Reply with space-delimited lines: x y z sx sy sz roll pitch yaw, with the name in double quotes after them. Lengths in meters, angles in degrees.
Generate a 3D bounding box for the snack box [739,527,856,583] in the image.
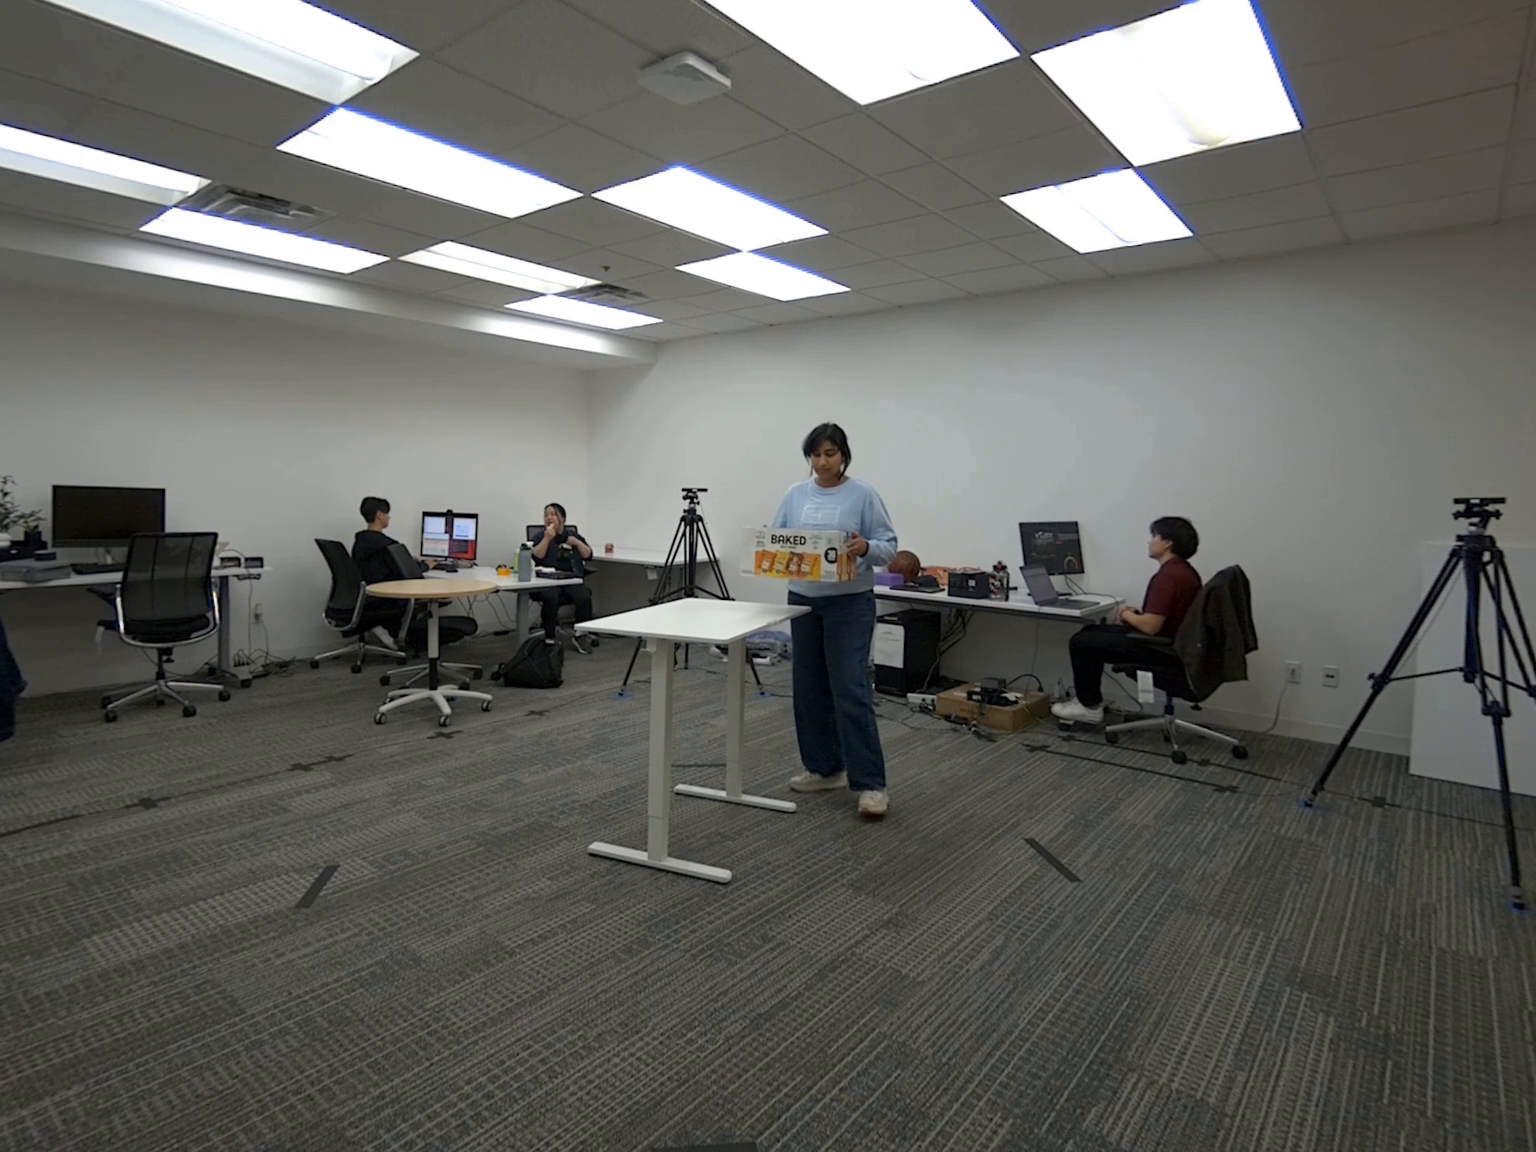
0.126 -0.097 3.562 0.414 0.205 0.333 4 2 20 "snack box"
